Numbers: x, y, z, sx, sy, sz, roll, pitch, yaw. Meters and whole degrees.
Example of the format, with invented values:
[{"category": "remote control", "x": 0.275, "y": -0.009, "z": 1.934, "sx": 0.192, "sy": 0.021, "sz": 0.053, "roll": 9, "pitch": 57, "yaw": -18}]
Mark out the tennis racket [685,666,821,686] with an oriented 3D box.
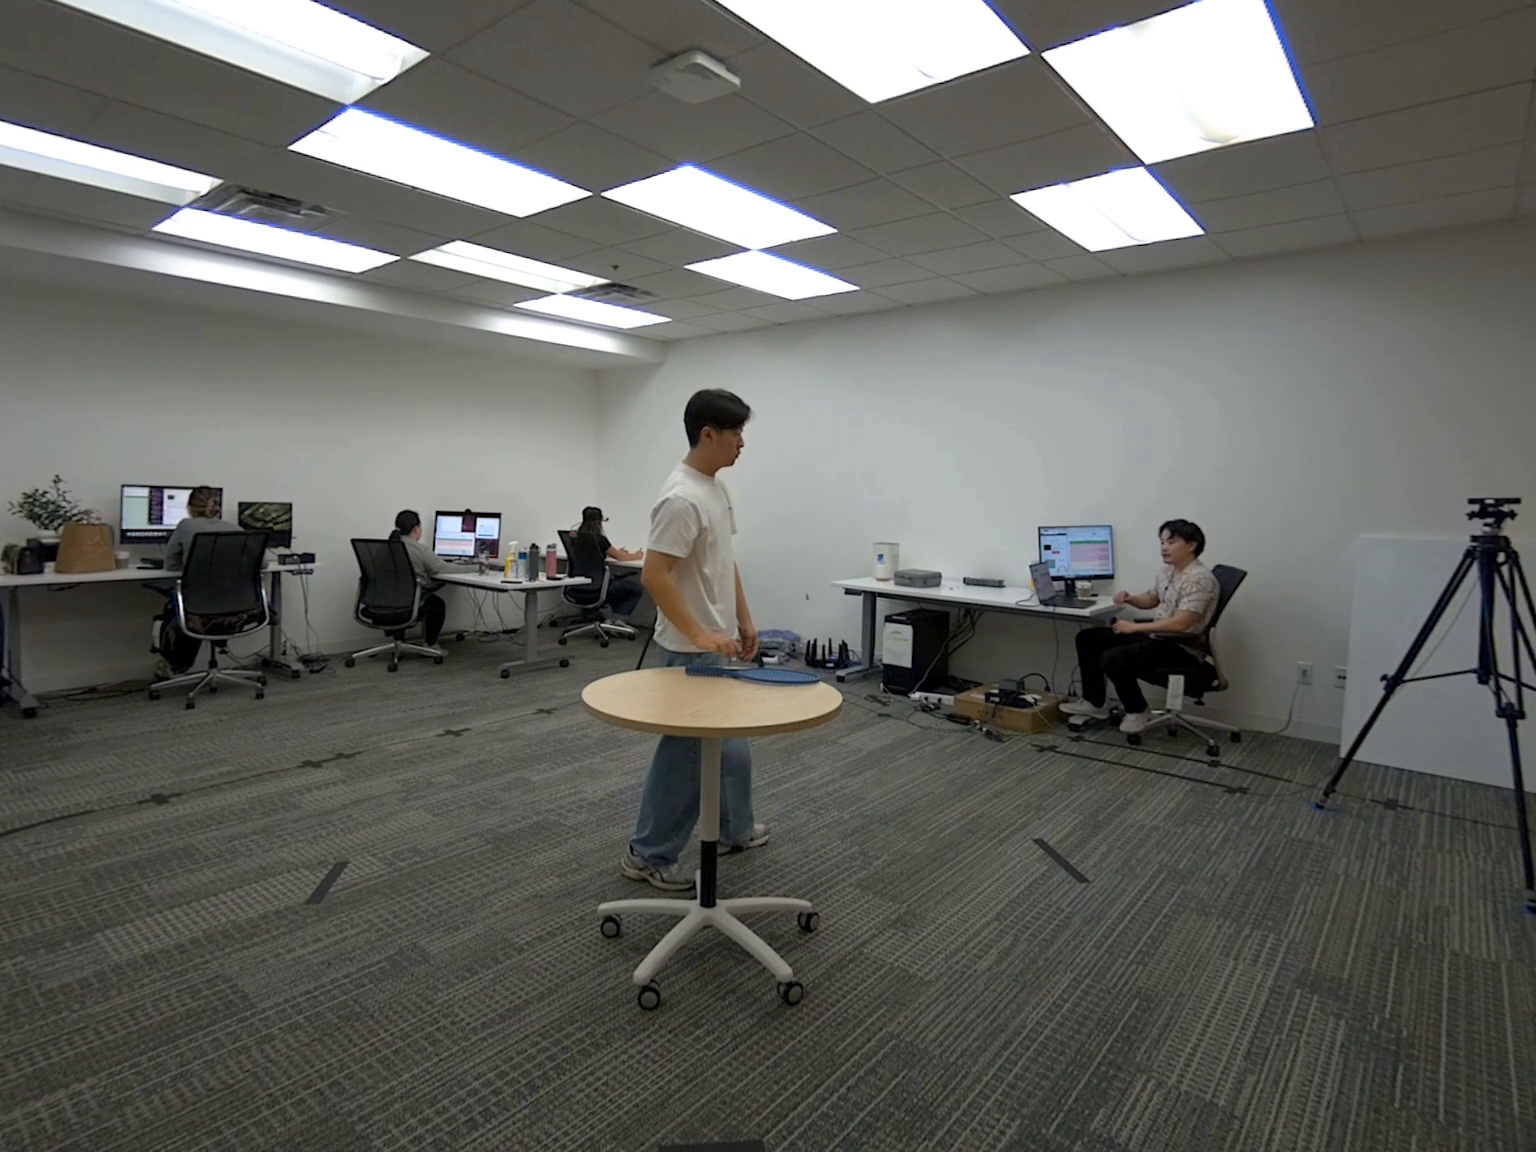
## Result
[{"category": "tennis racket", "x": -0.056, "y": 0.318, "z": 2.717, "sx": 0.435, "sy": 0.032, "sz": 0.213, "roll": 3, "pitch": 4, "yaw": 4}]
